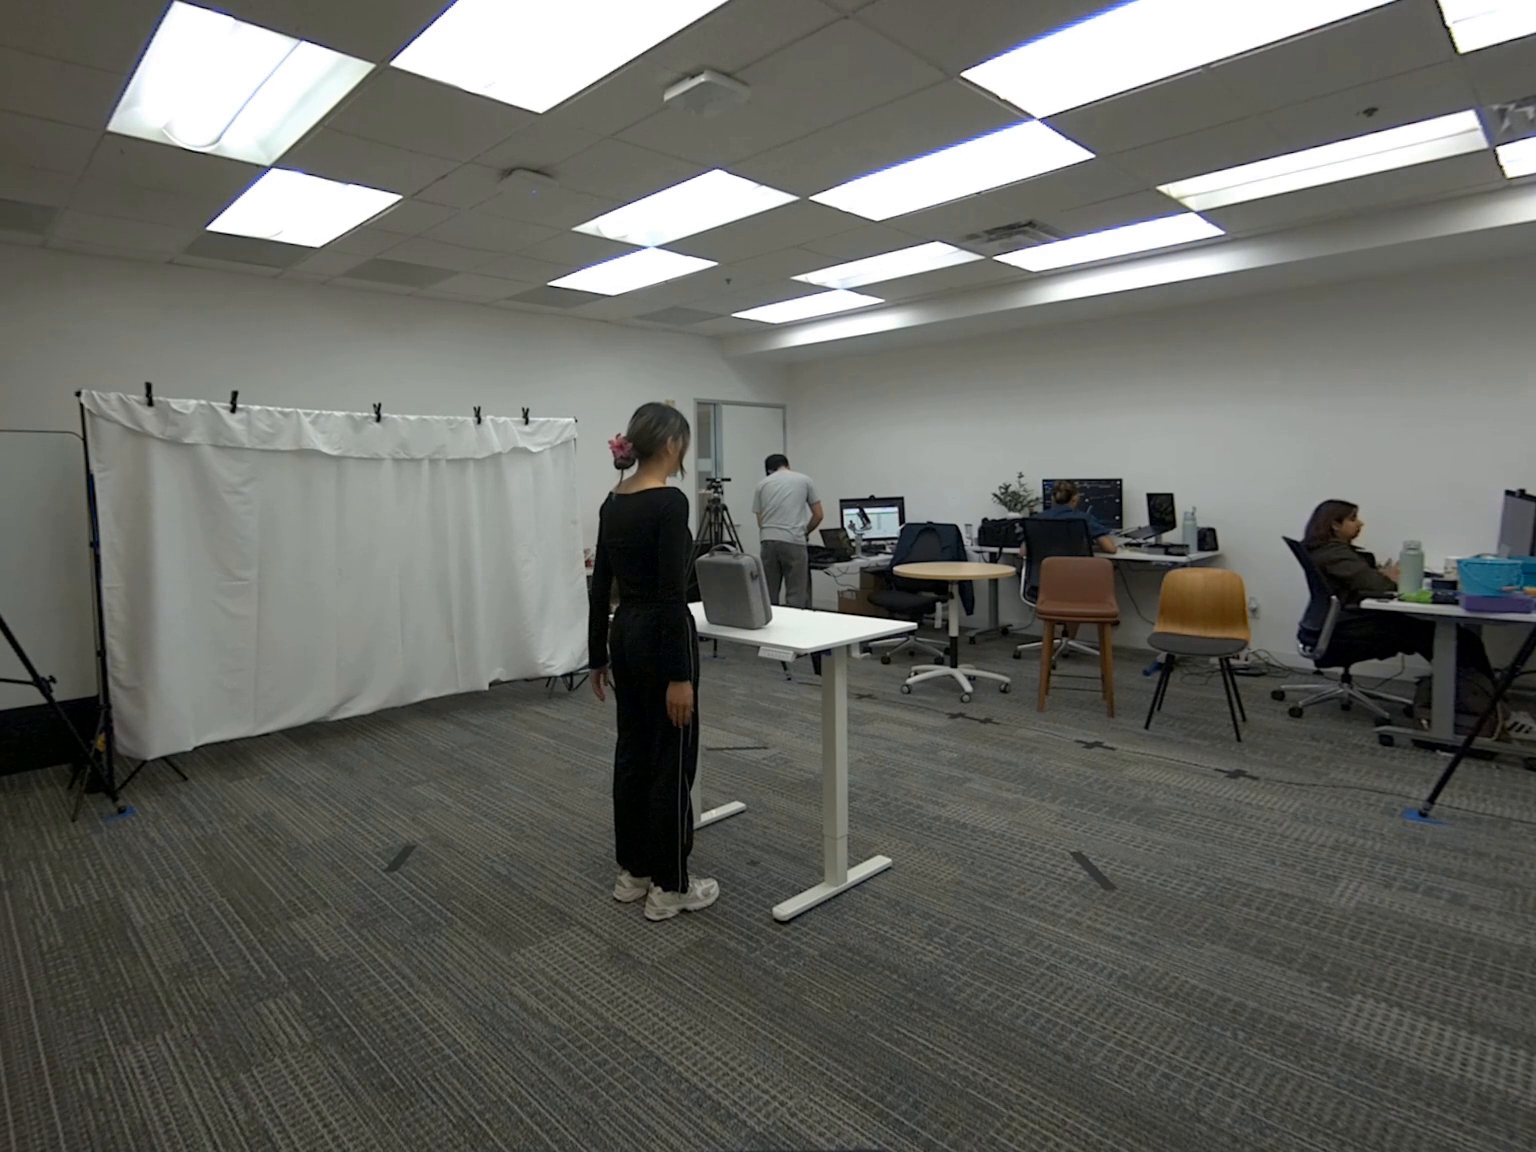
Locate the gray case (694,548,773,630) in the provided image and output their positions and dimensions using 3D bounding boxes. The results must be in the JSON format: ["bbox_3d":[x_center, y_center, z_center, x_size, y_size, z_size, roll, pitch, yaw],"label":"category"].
[{"bbox_3d":[-0.118,0.044,2.957,0.102,0.258,0.265,-19,15,-41],"label":"gray case"}]
